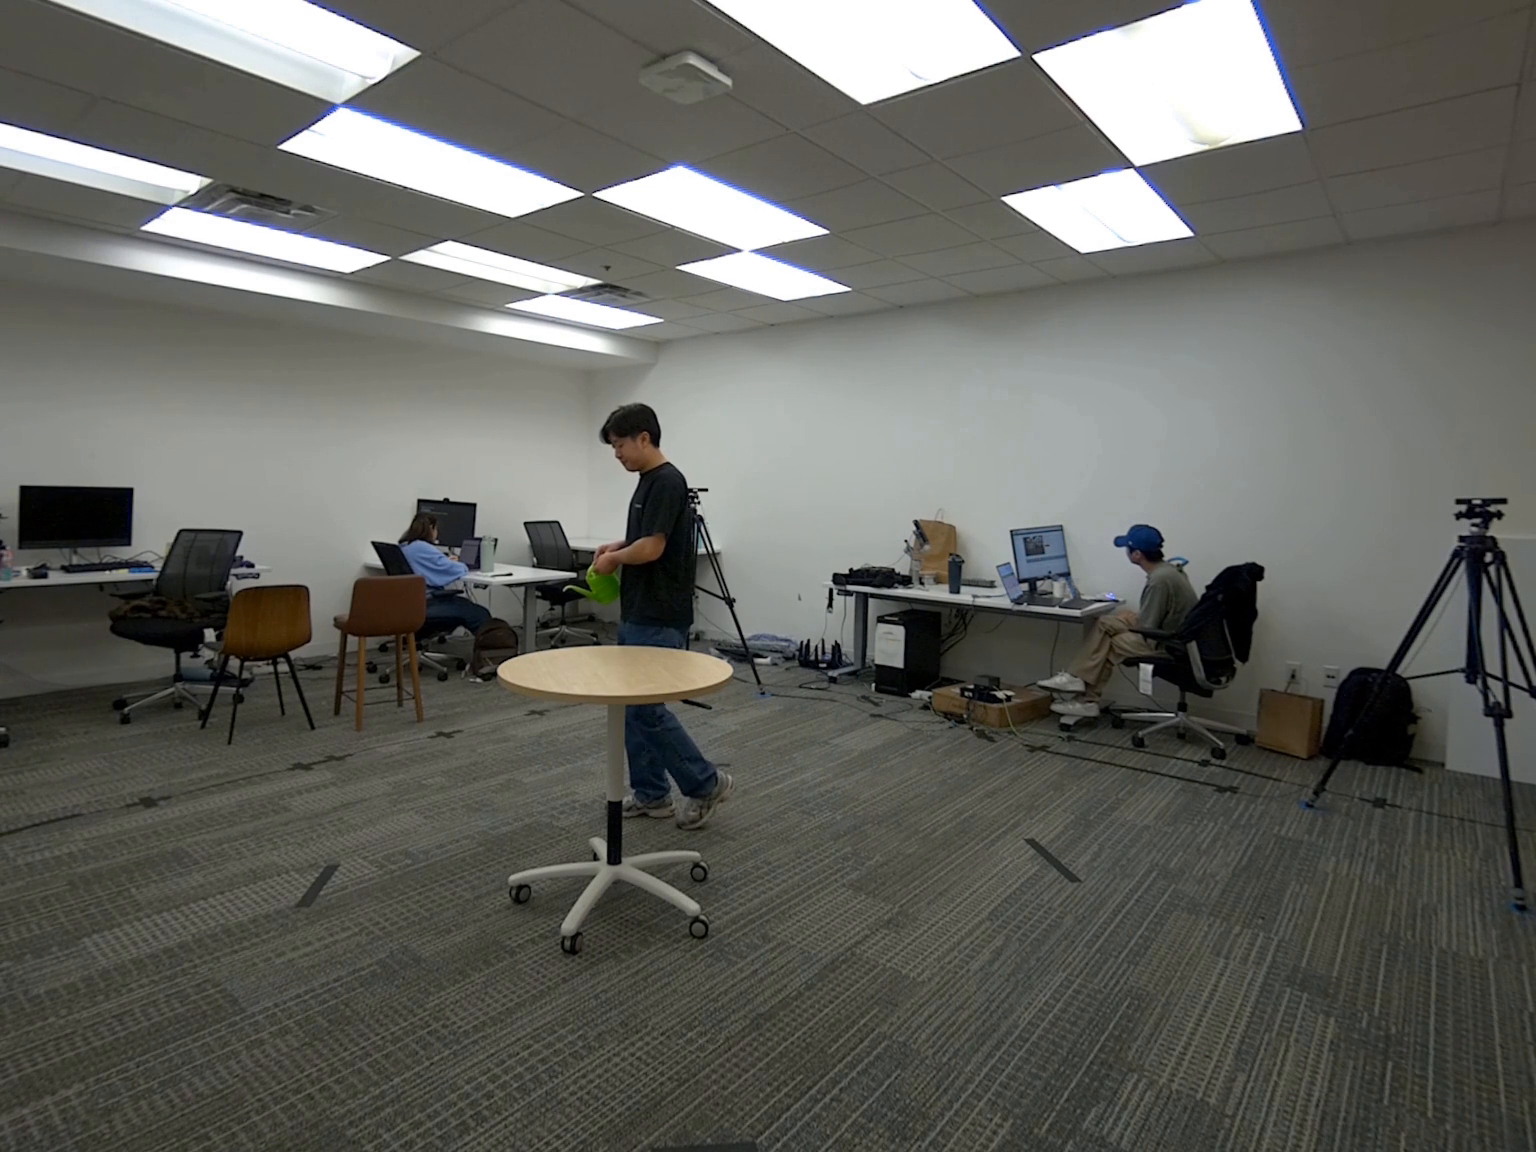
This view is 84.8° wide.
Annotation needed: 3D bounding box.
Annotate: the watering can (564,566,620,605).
[{"bbox_3d":[-0.748,0.039,3.609,0.276,0.171,0.102,-36,30,-24],"label":"watering can"}]
